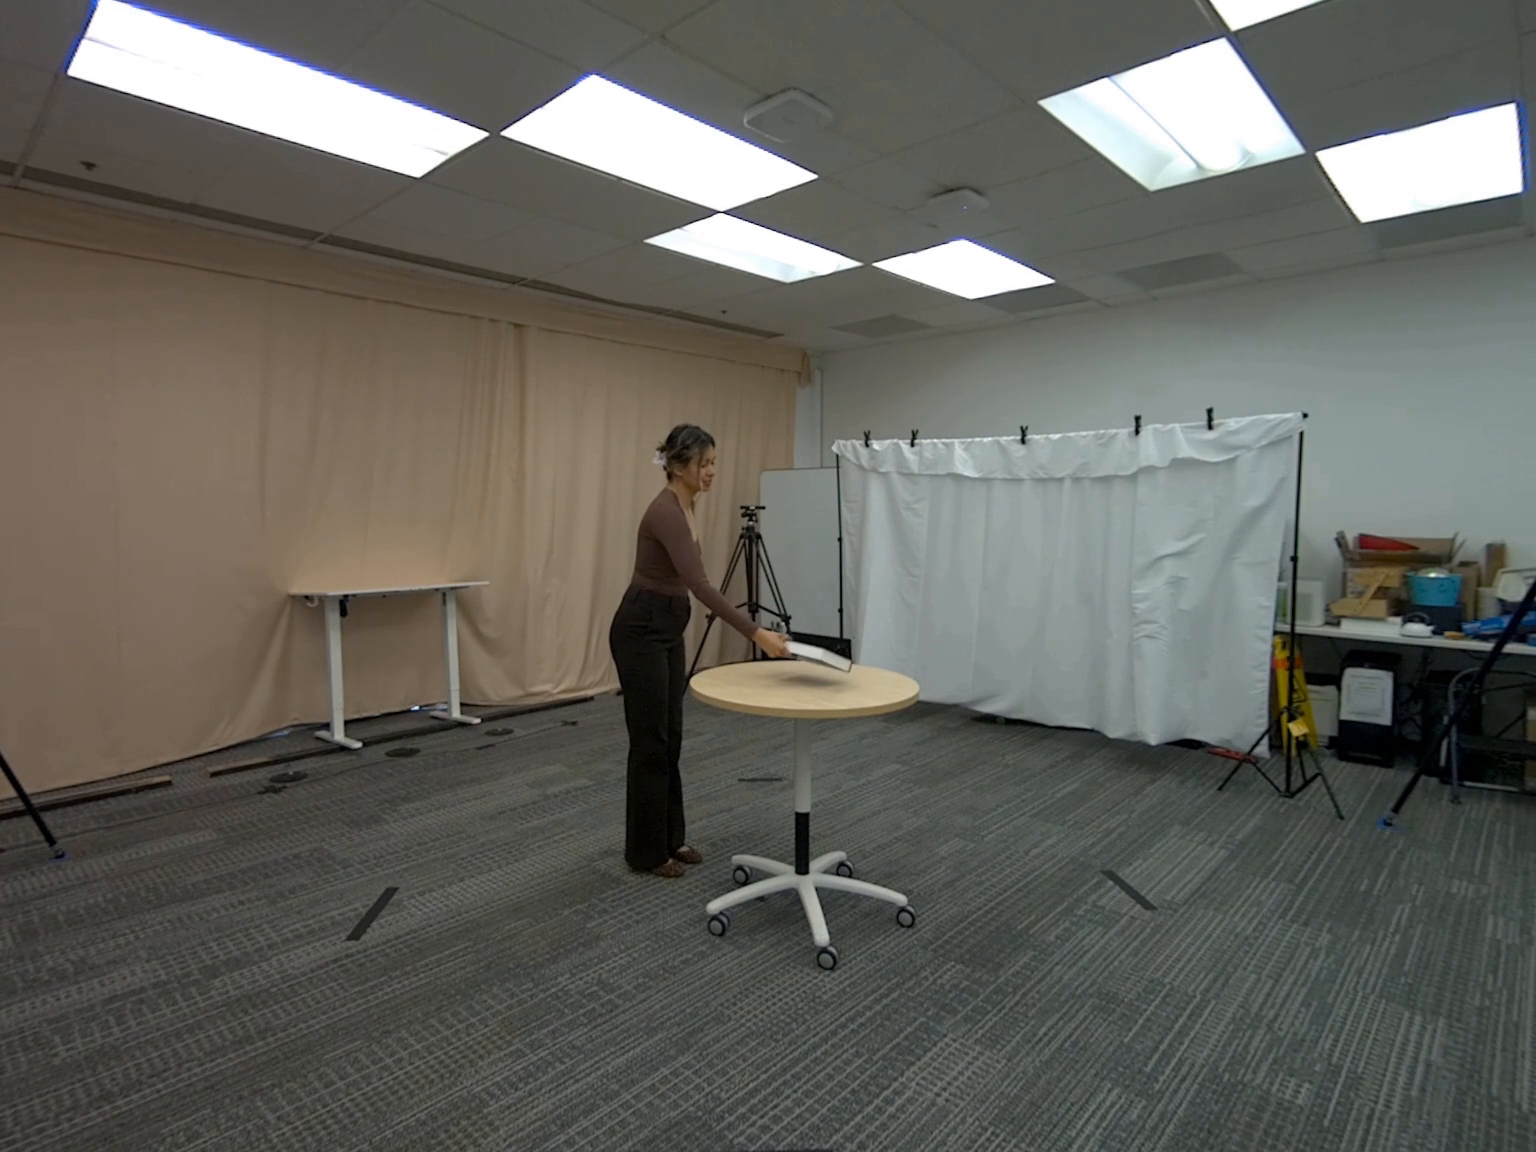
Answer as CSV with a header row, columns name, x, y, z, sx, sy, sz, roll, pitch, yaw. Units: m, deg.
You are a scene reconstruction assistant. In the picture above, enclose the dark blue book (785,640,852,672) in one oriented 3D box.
name,x,y,z,sx,sy,sz,roll,pitch,yaw
dark blue book,0.143,0.261,2.842,0.253,0.045,0.157,8,-14,46
